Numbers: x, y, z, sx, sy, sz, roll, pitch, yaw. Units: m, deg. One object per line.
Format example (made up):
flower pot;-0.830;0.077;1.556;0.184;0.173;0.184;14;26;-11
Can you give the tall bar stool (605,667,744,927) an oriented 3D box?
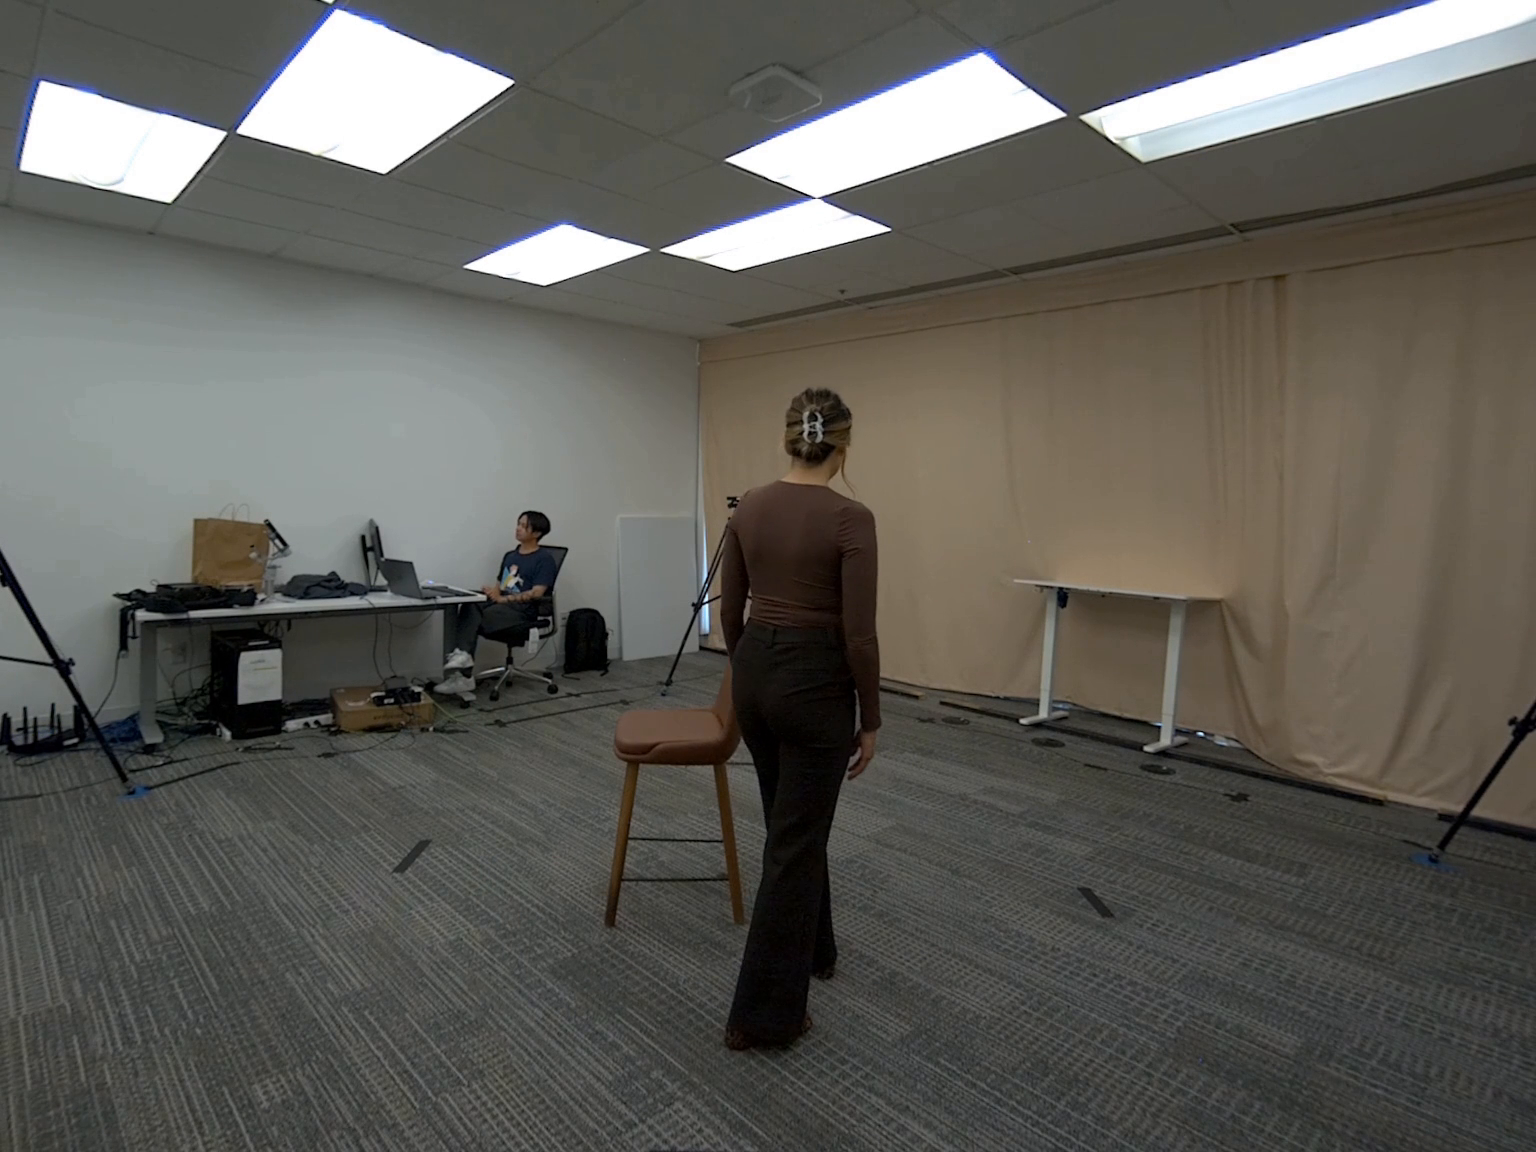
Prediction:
tall bar stool;-0.312;0.688;2.895;0.465;0.888;0.460;2;3;-6
